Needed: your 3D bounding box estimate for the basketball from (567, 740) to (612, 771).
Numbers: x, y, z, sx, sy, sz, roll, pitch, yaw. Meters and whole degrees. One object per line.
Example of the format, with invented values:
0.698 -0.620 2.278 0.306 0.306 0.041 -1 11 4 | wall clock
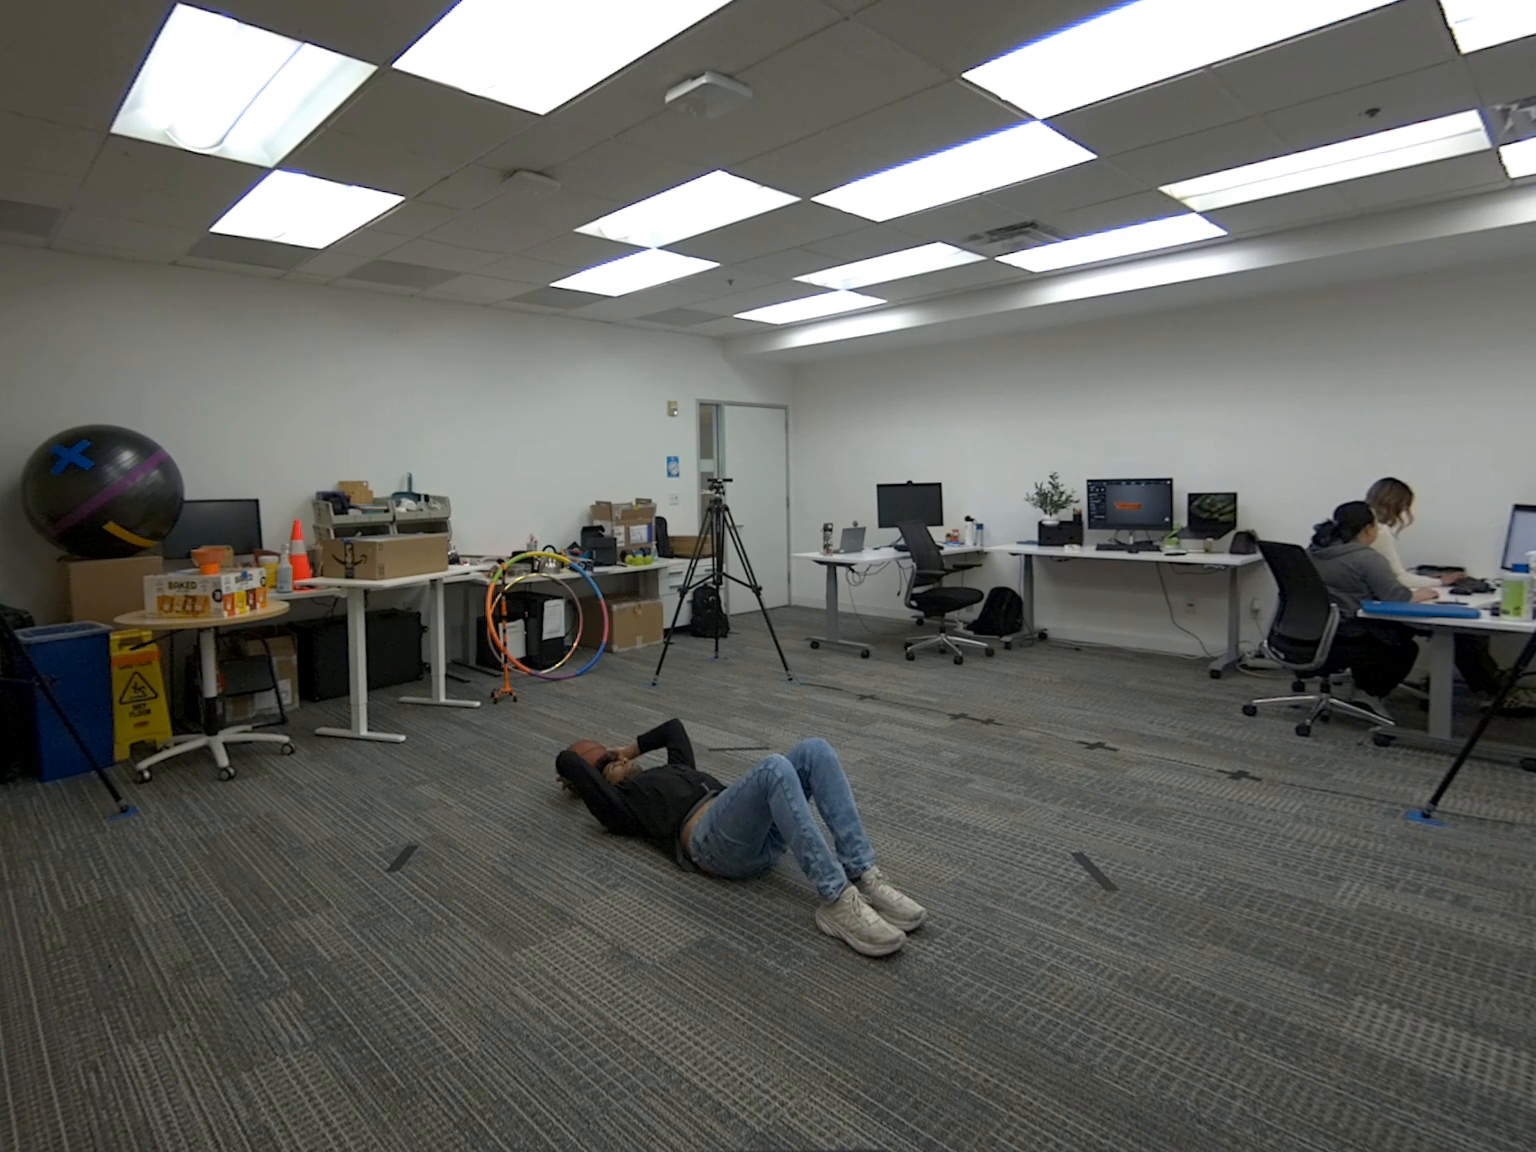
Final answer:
-0.817 0.857 3.830 0.236 0.235 0.237 -1 5 -2 | basketball
